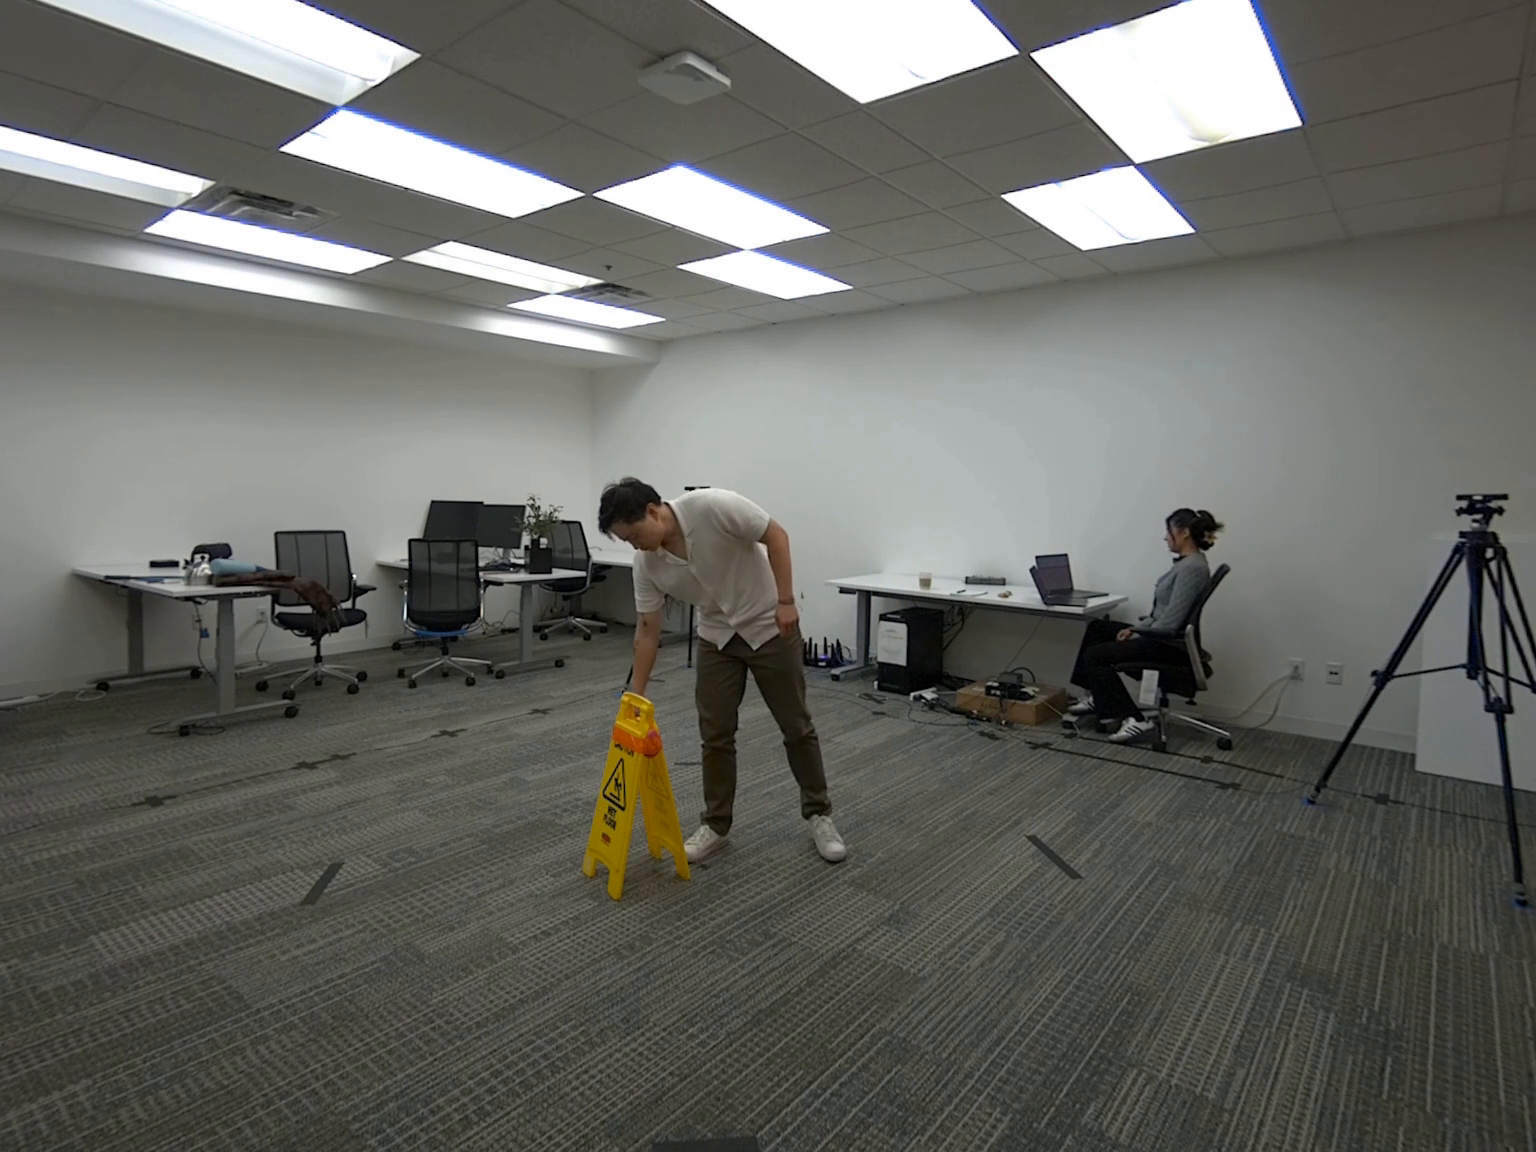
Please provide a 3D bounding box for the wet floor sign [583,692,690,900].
[{"bbox_3d":[-0.476,0.744,3.027,0.281,0.644,0.291,-1,3,-36],"label":"wet floor sign"}]
